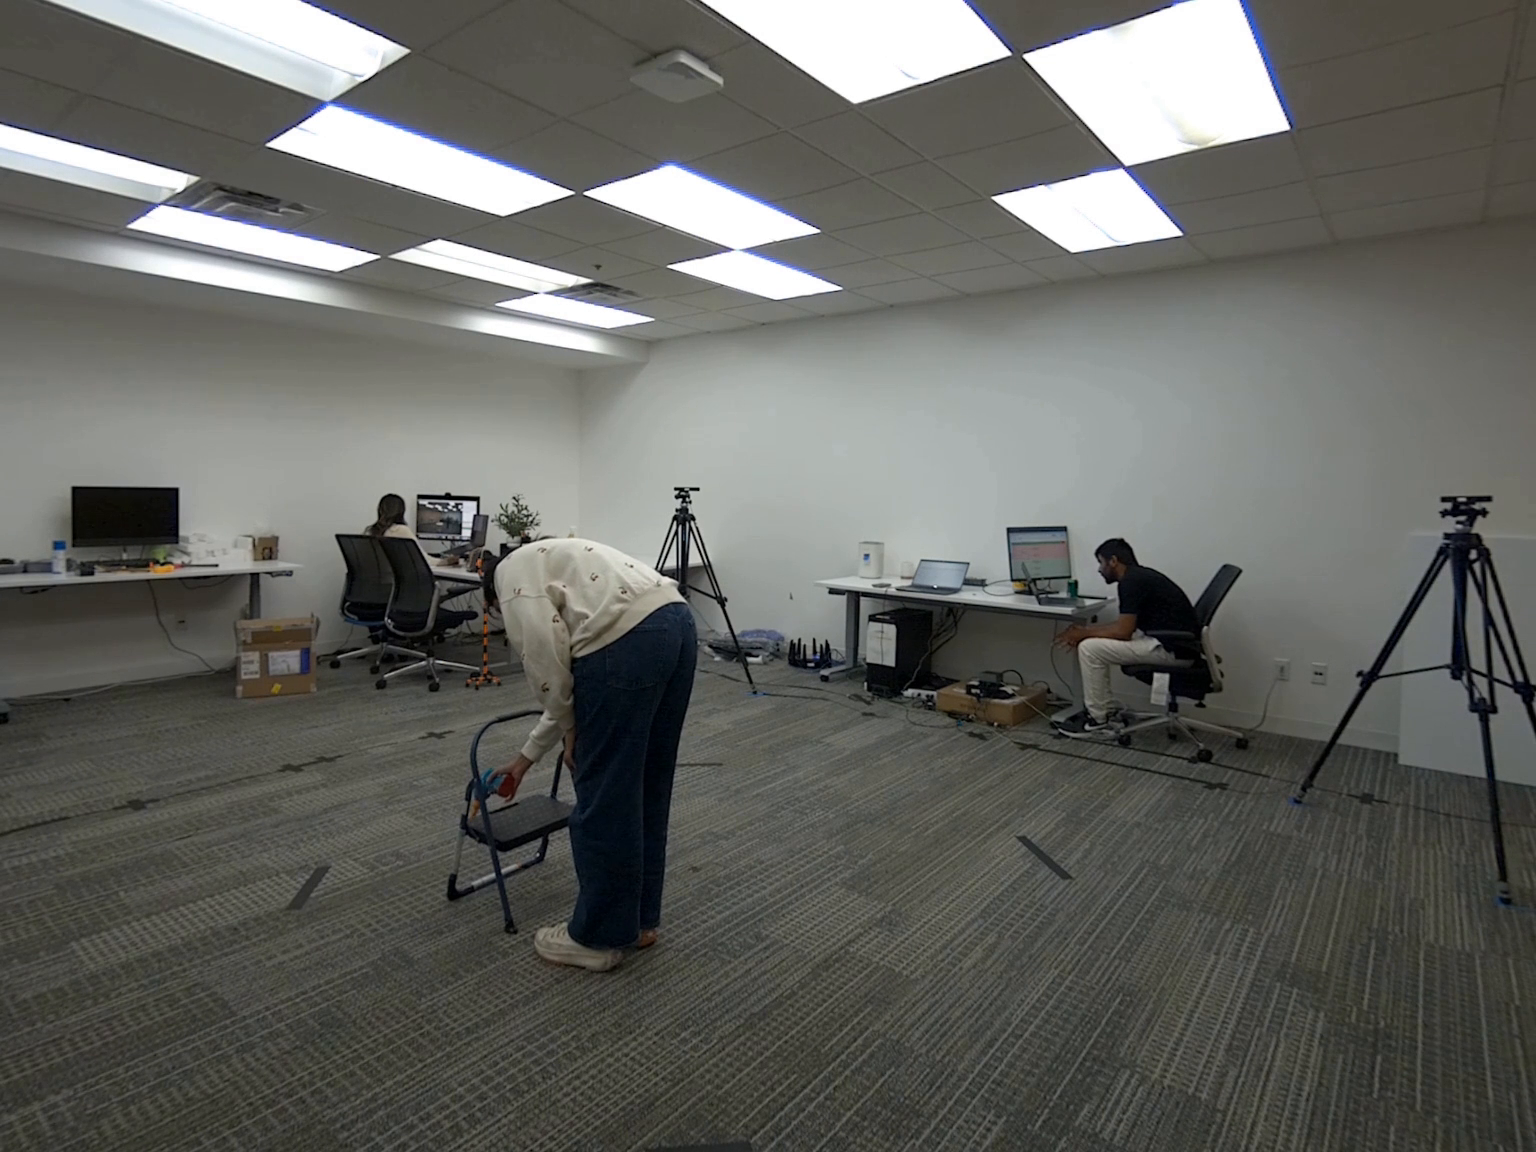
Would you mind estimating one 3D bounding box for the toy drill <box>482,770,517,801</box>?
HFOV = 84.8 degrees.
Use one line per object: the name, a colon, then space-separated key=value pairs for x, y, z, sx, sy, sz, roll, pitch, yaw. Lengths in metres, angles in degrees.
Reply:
toy drill: x=-0.938 y=0.729 z=2.810 sx=0.150 sy=0.172 sz=0.059 roll=-5 pitch=-31 yaw=43
